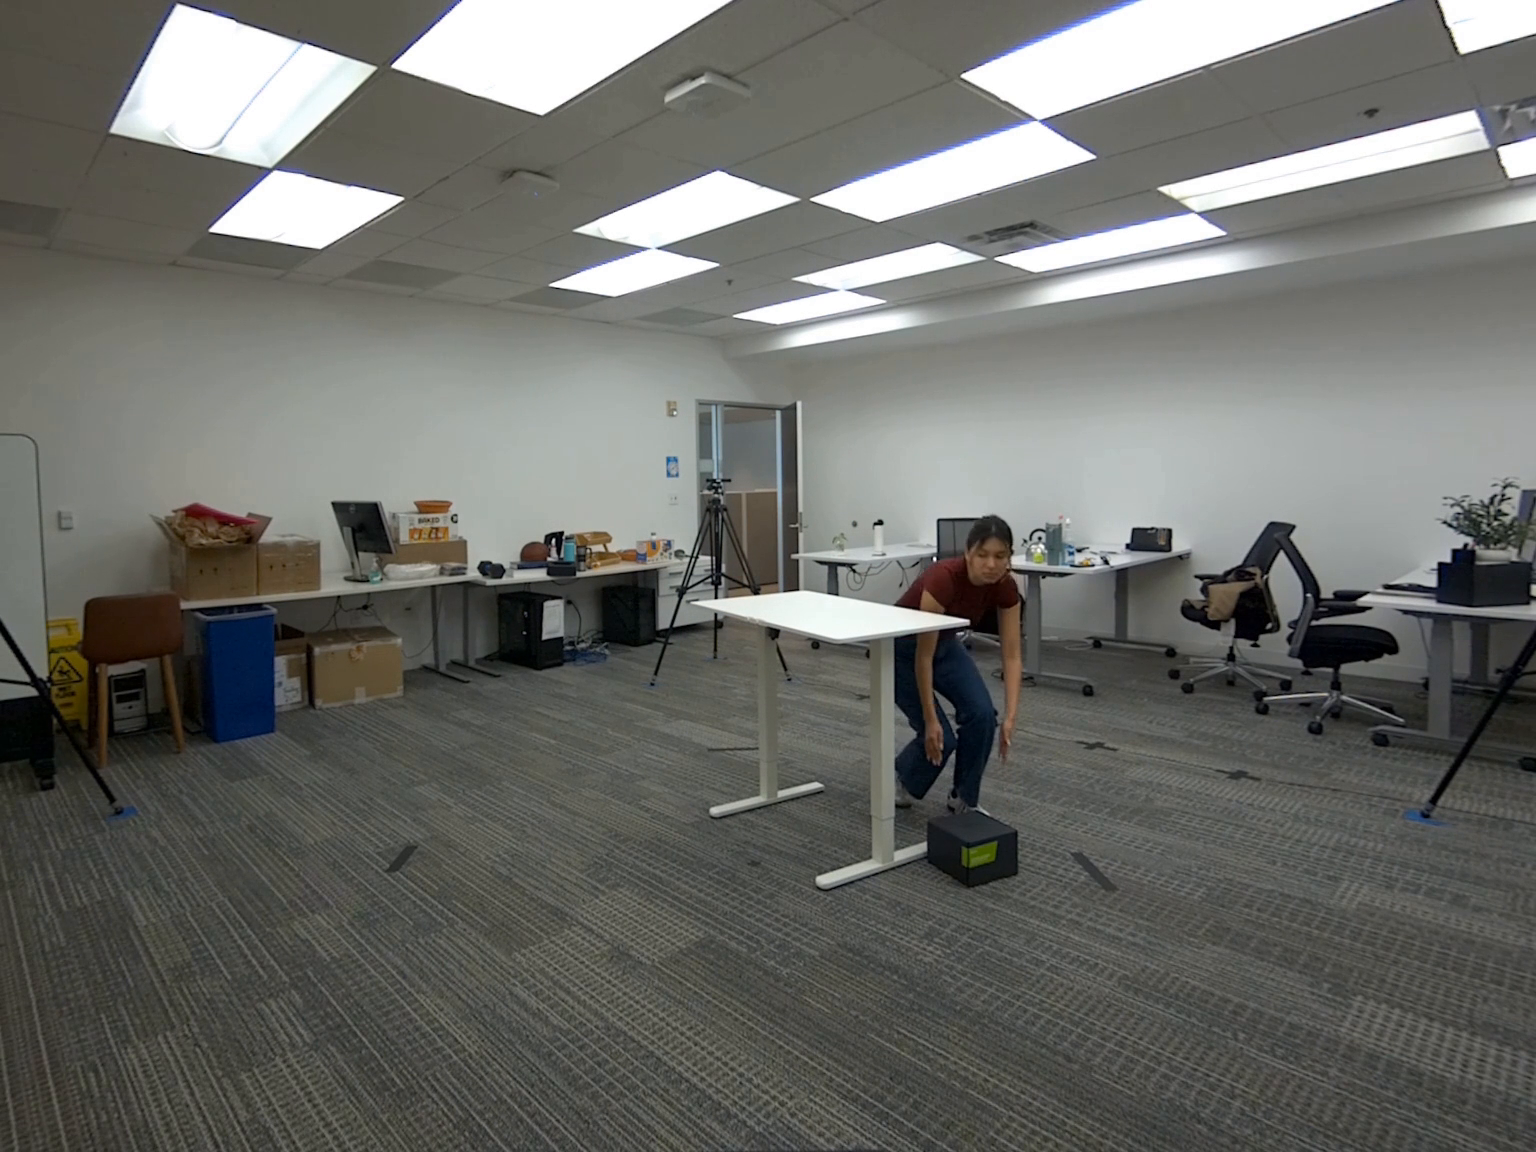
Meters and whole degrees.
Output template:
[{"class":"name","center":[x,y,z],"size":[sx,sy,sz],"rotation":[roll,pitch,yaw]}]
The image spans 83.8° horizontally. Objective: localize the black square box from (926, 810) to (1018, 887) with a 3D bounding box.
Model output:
[{"class":"black square box","center":[0.723,0.957,3.025],"size":[0.223,0.155,0.222],"rotation":[-3,5,-27]}]
